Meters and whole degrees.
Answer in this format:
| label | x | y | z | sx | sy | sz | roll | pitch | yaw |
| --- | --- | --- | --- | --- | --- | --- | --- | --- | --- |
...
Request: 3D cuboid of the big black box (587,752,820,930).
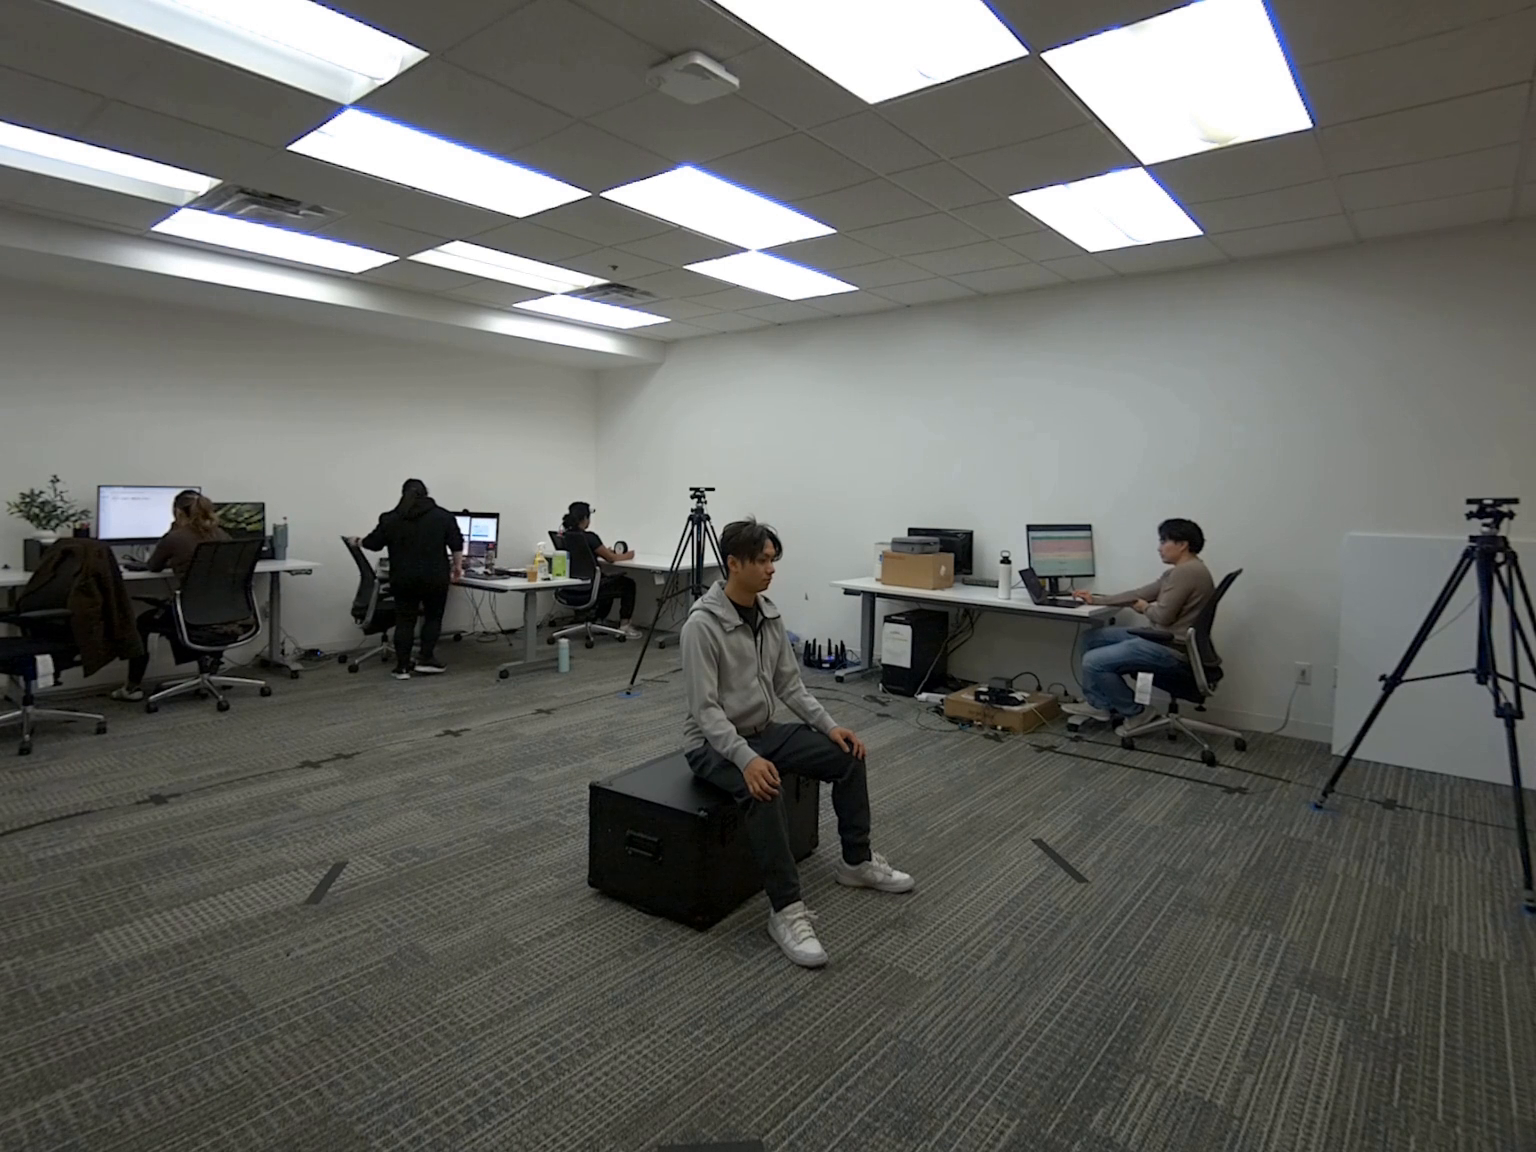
| label | x | y | z | sx | sy | sz | roll | pitch | yaw |
| --- | --- | --- | --- | --- | --- | --- | --- | --- | --- |
| big black box | -0.239 | 0.887 | 3.060 | 0.537 | 0.395 | 0.838 | 4 | 6 | 32 |
